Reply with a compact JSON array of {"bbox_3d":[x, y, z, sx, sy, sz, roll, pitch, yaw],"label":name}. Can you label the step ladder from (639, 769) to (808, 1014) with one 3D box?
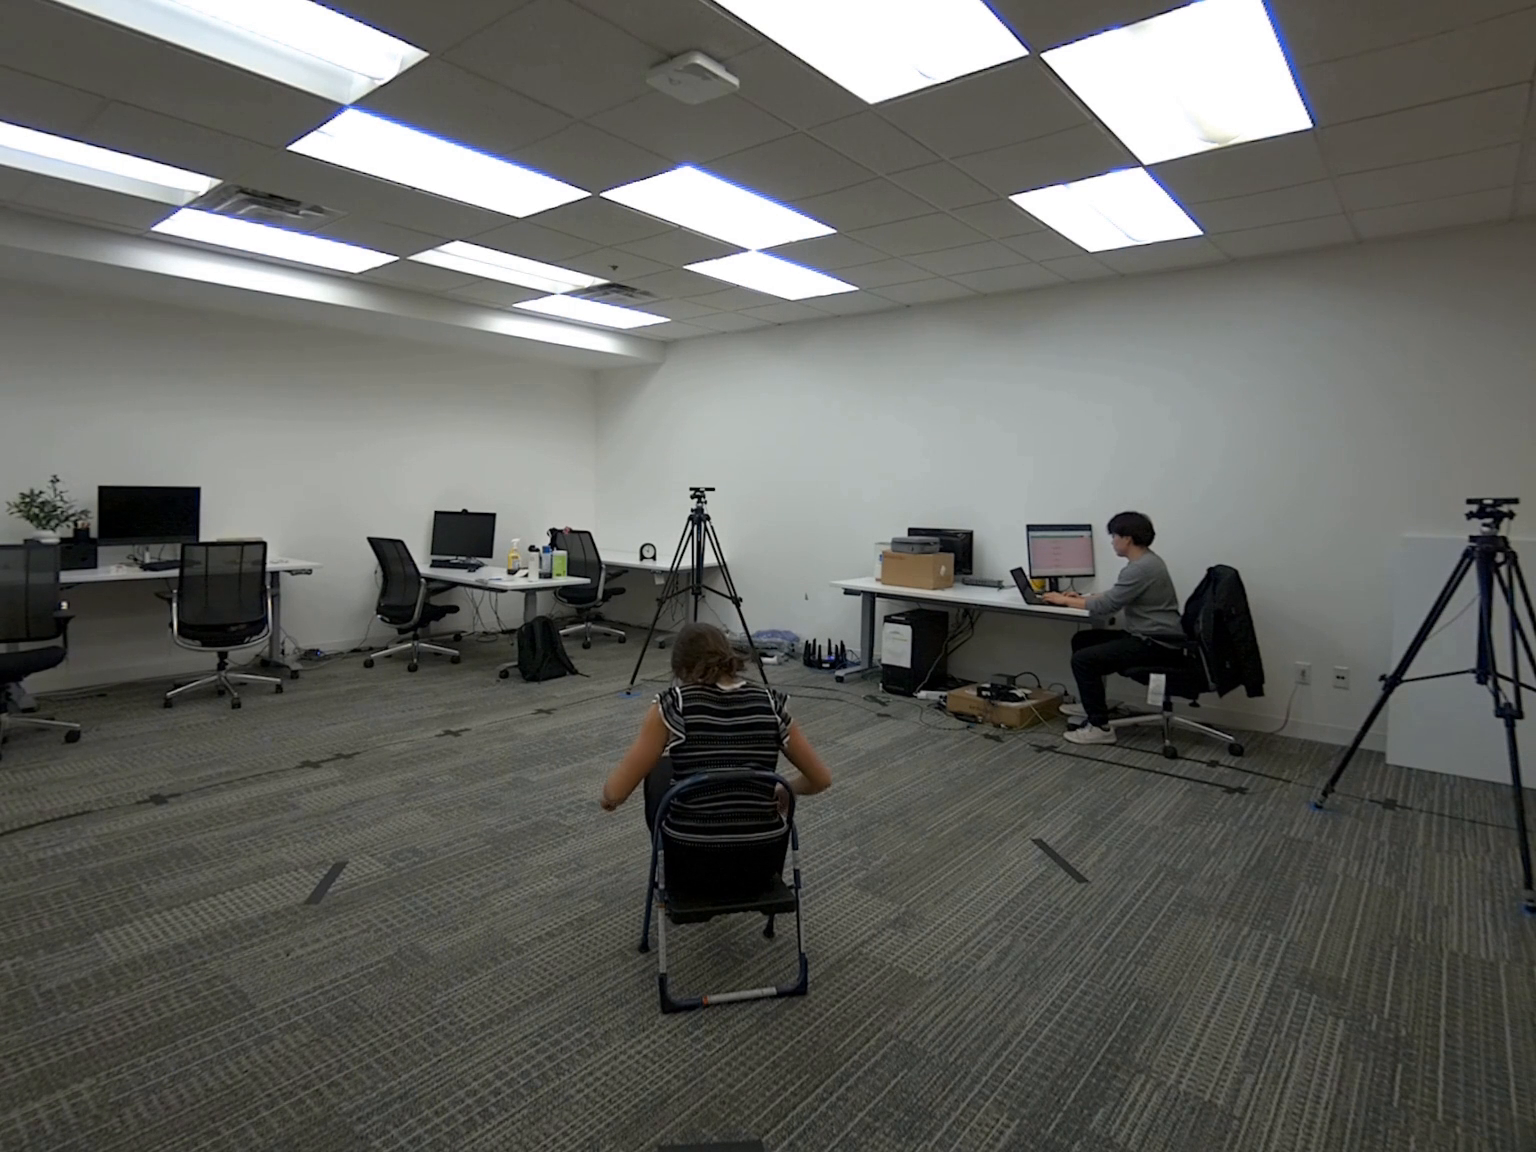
[{"bbox_3d":[-0.137,0.839,2.444,0.423,0.604,0.356,-1,4,-17],"label":"step ladder"}]
